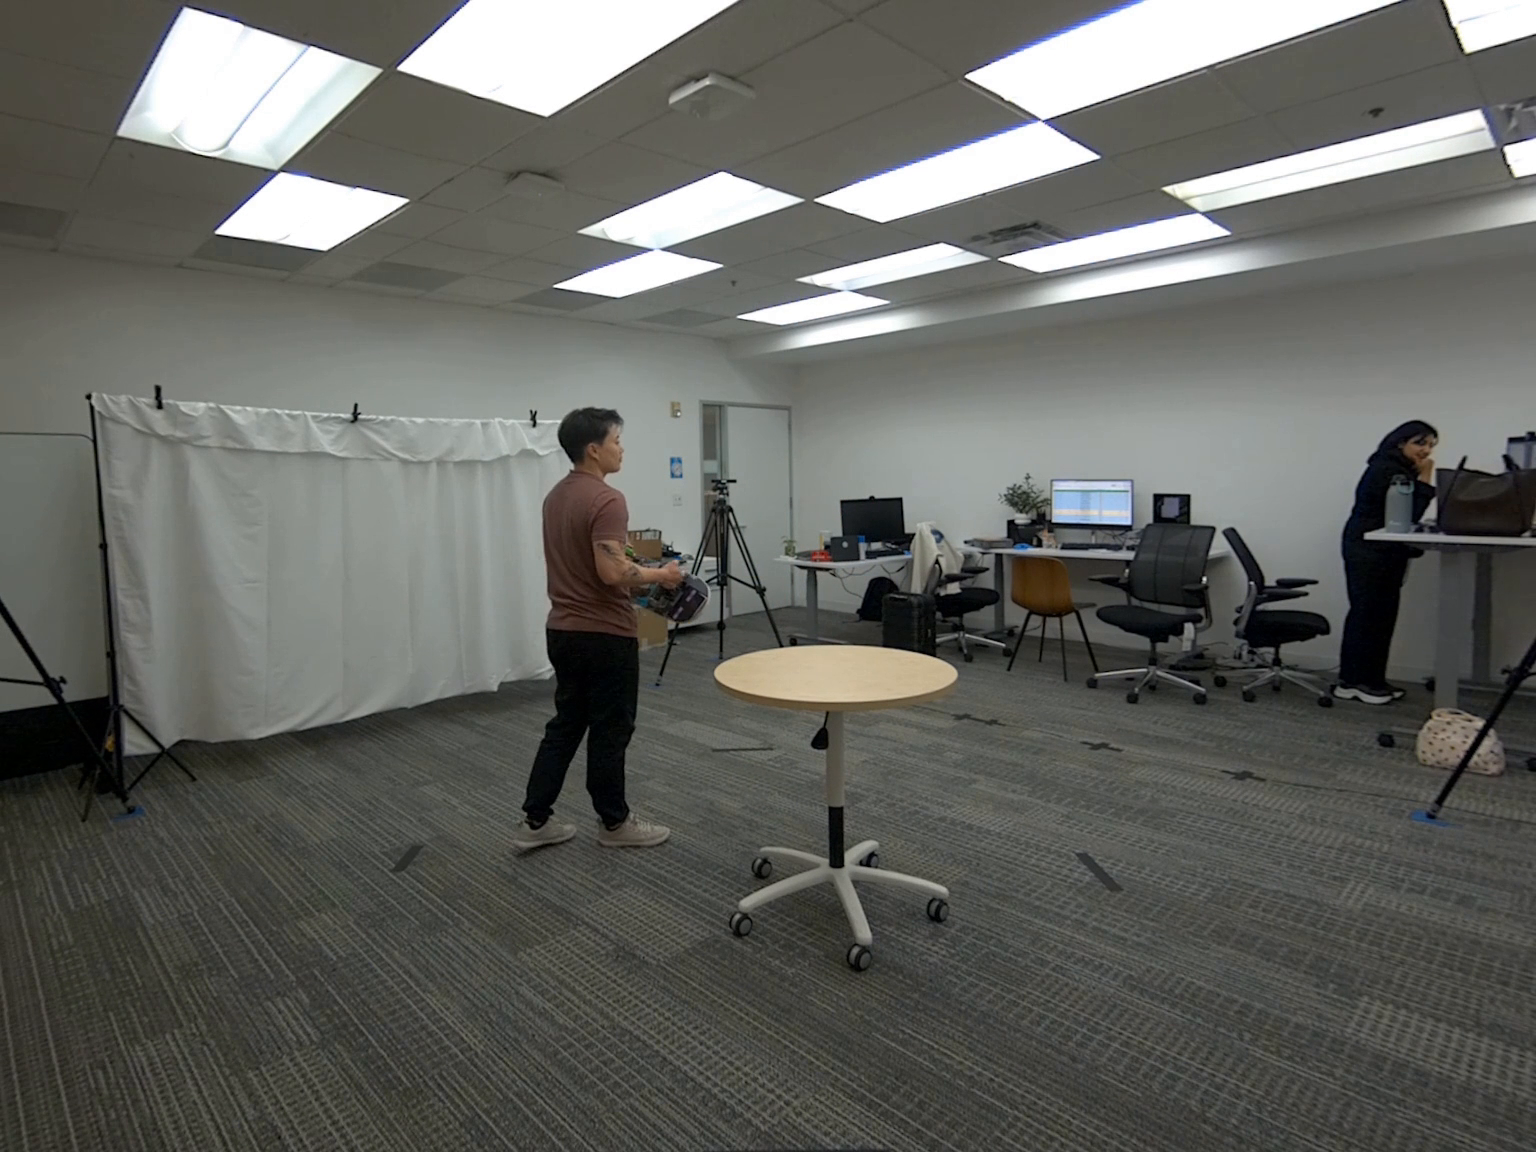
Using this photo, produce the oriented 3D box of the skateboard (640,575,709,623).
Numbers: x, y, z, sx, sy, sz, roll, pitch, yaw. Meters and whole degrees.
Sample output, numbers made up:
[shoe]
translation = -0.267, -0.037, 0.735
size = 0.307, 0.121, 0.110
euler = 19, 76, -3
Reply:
[skateboard]
translation = -0.480, 0.021, 3.403
size = 0.106, 0.194, 0.812
euler = 42, -13, -34
